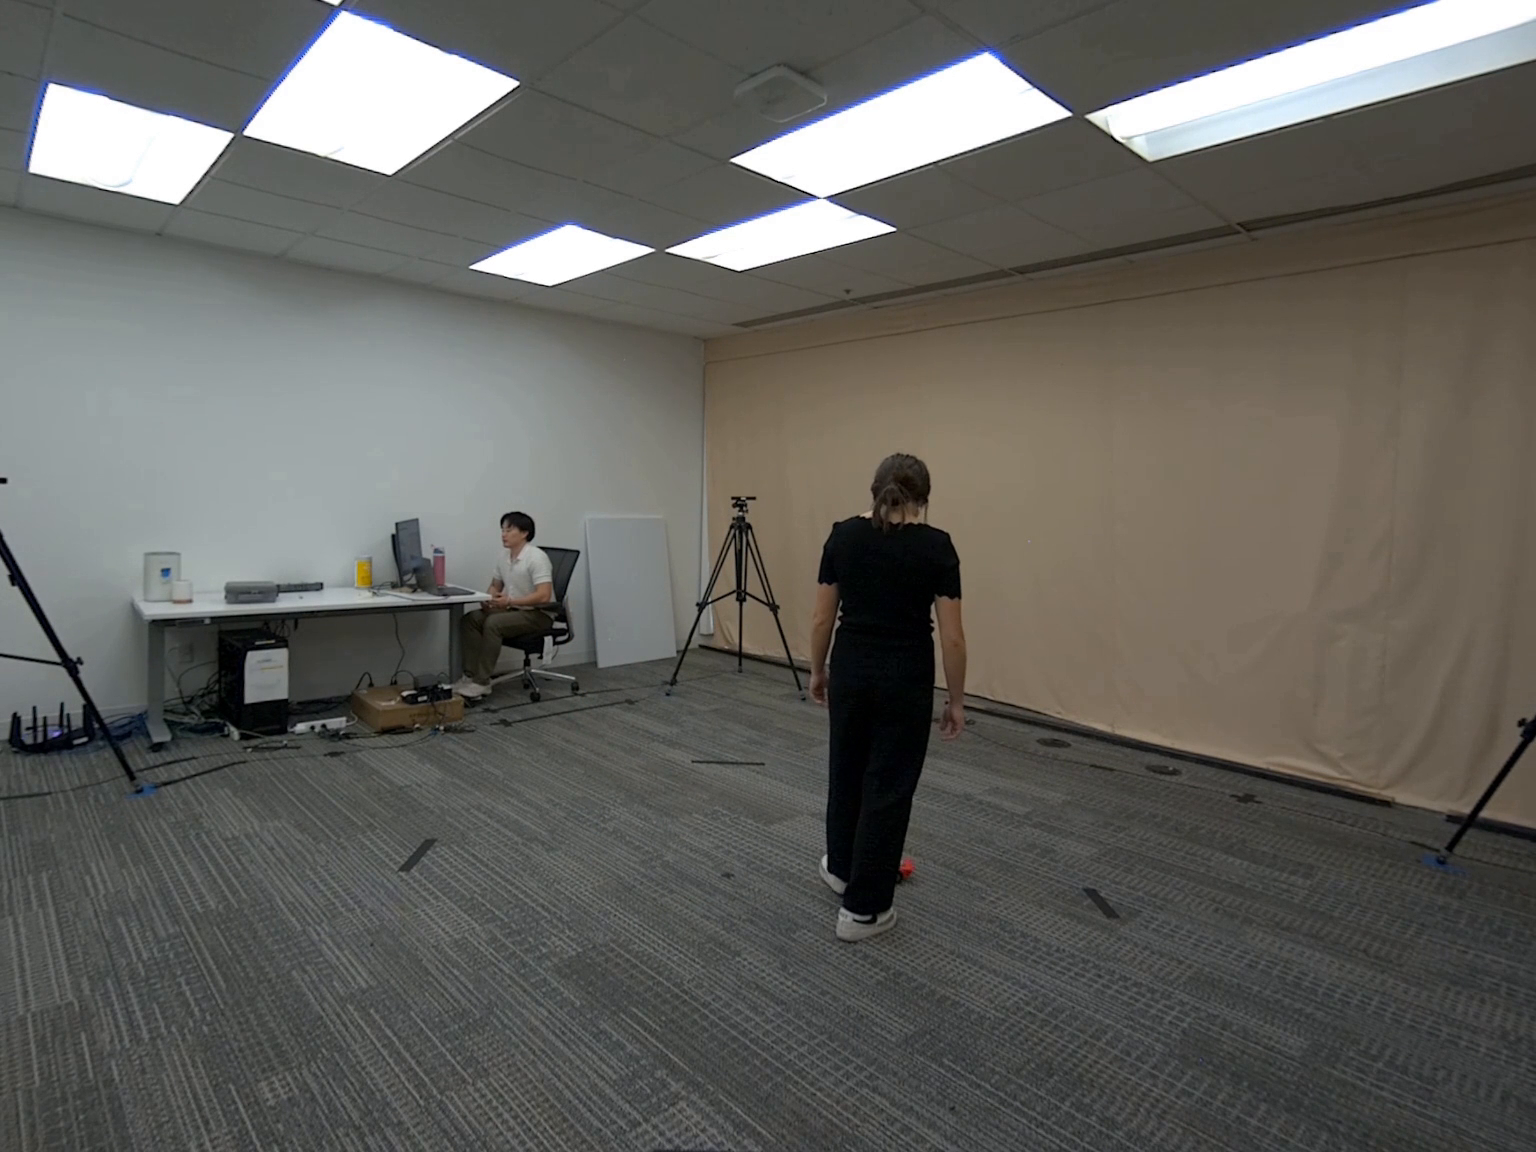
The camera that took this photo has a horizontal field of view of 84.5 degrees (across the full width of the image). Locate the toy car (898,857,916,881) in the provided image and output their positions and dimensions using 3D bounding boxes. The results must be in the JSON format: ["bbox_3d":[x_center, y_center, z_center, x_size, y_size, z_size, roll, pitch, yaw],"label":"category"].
[{"bbox_3d":[0.418,1.092,3.114,0.254,0.083,0.131,-10,5,-1],"label":"toy car"}]
